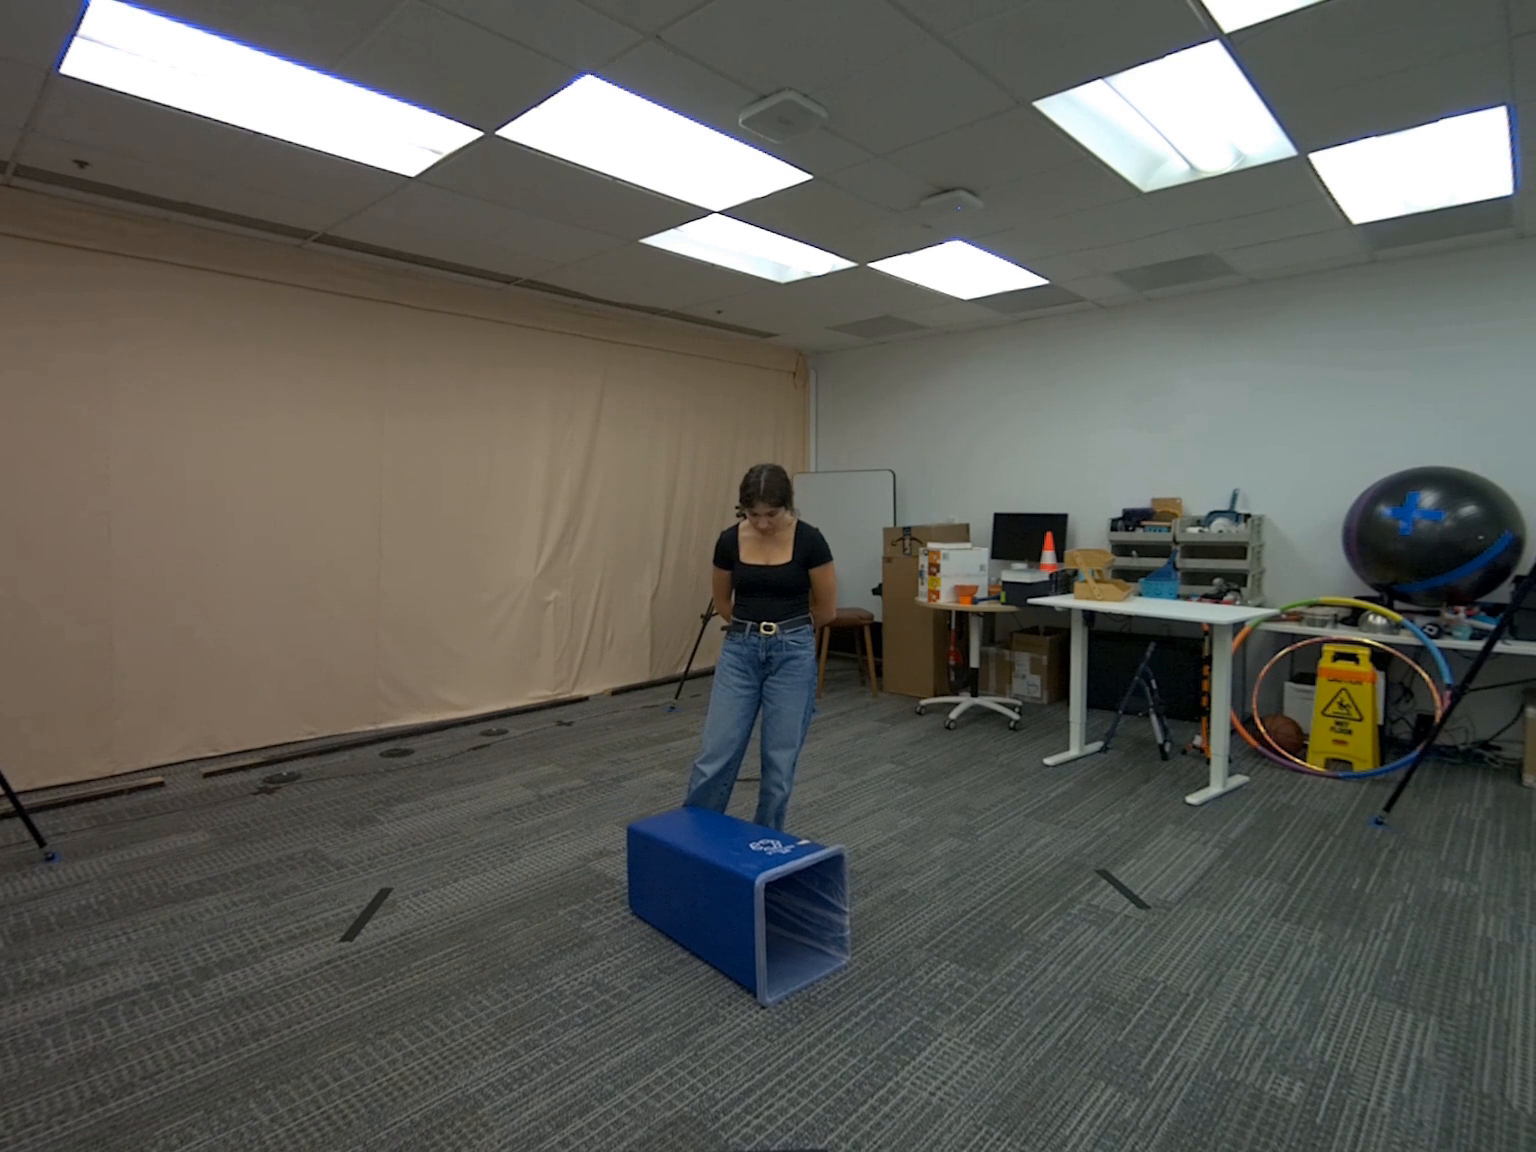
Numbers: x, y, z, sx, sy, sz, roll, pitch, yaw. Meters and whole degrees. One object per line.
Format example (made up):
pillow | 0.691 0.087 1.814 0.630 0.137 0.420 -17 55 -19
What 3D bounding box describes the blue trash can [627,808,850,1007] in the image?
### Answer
blue trash can | -0.127 1.002 2.696 0.362 0.378 0.736 -3 3 -43
